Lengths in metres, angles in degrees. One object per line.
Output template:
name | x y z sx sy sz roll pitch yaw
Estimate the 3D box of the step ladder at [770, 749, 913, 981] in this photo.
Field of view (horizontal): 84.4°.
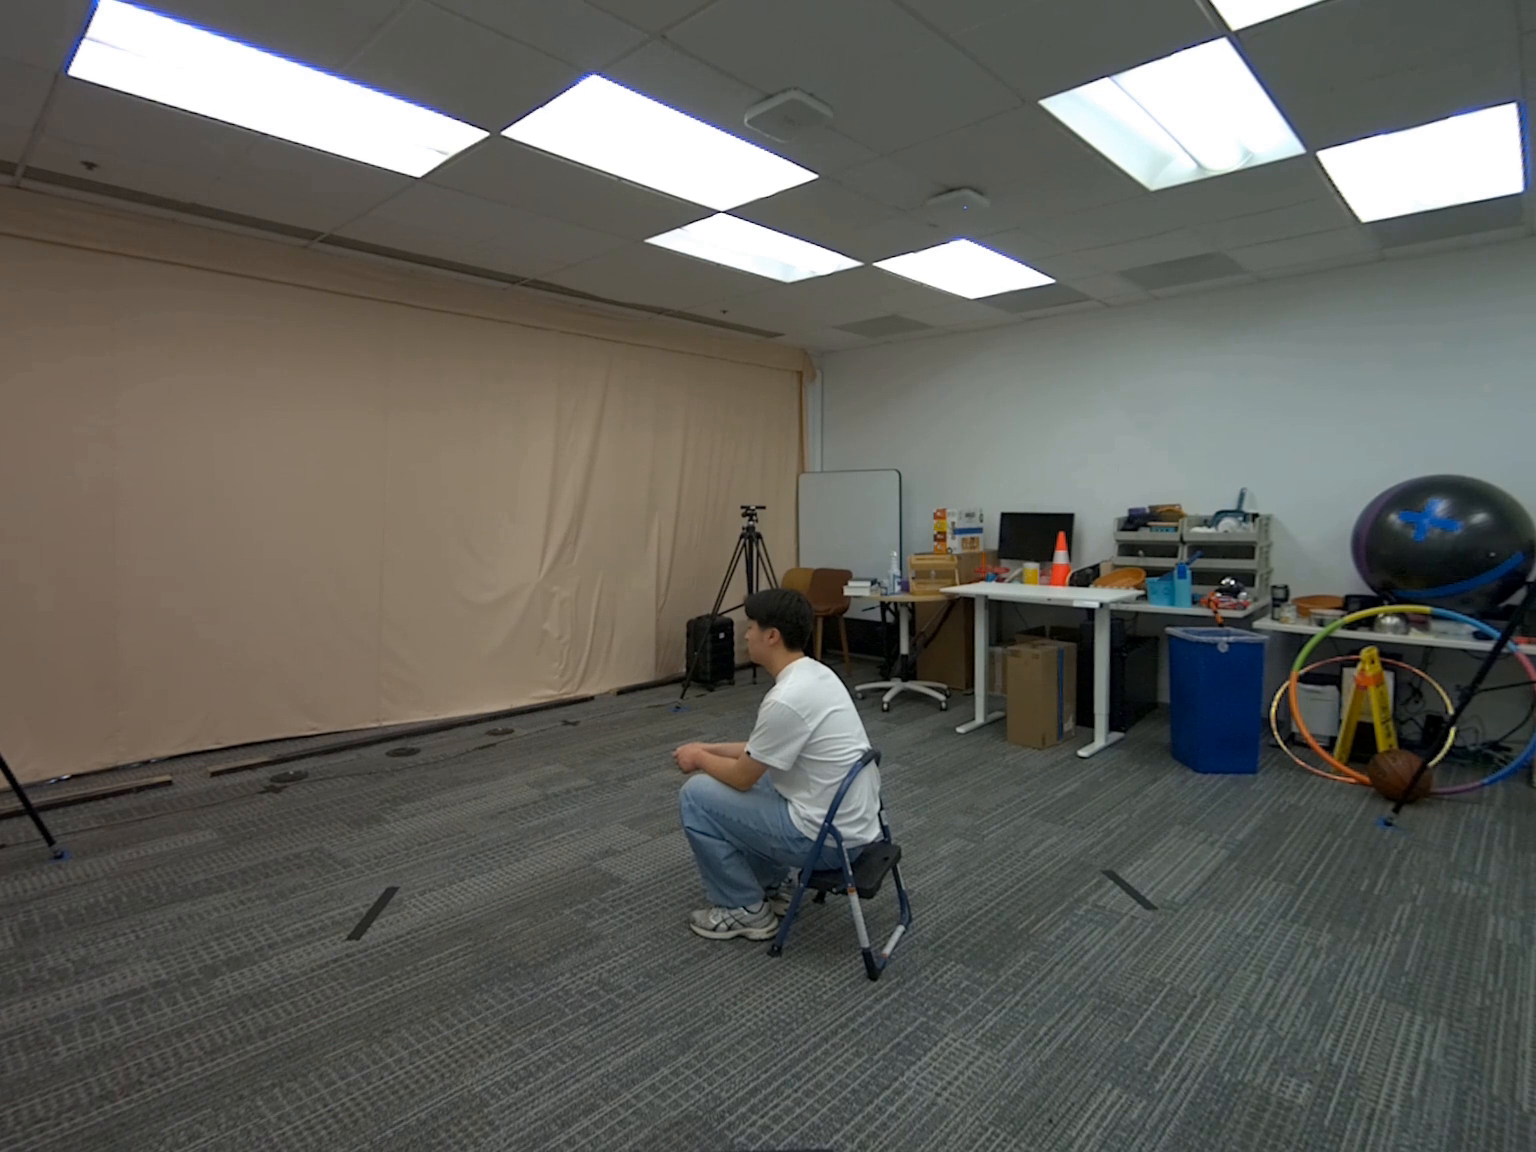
step ladder | 0.251 0.869 2.693 0.358 0.604 0.420 2 5 26
